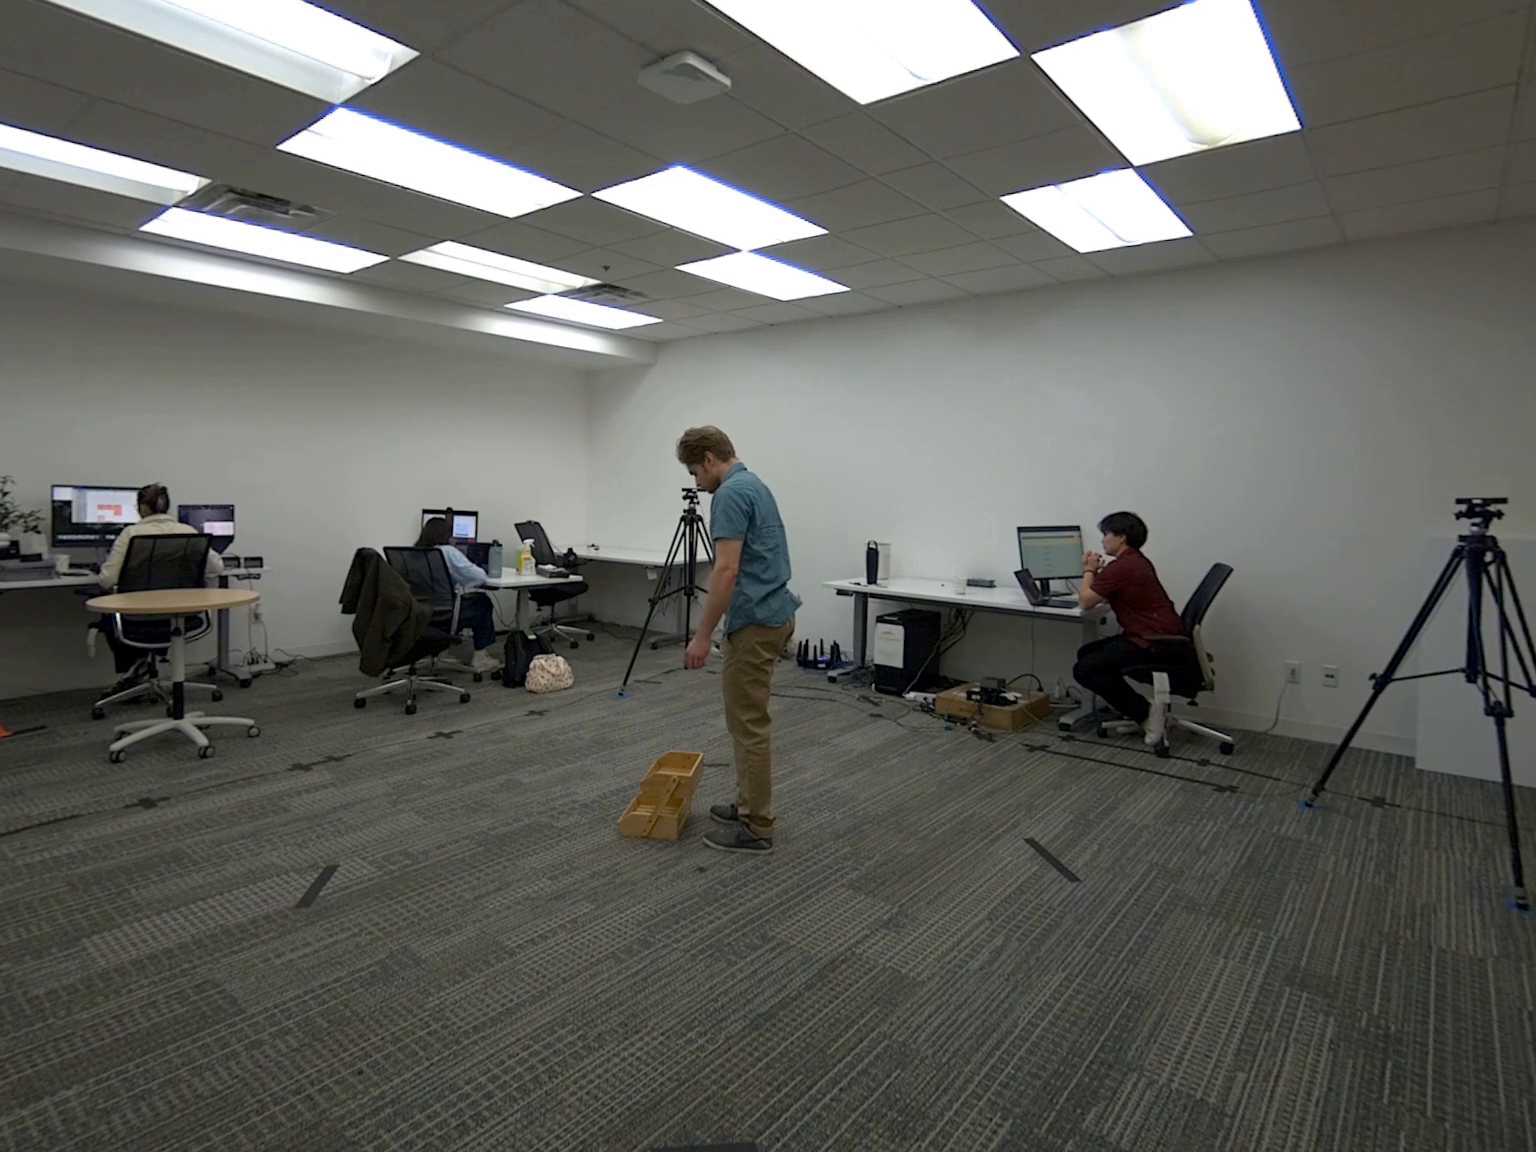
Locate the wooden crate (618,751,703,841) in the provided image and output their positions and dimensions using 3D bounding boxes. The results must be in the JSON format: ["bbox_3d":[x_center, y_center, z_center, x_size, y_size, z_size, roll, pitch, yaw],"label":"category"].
[{"bbox_3d":[-0.458,0.894,3.532,0.305,0.272,0.323,1,5,7],"label":"wooden crate"}]
